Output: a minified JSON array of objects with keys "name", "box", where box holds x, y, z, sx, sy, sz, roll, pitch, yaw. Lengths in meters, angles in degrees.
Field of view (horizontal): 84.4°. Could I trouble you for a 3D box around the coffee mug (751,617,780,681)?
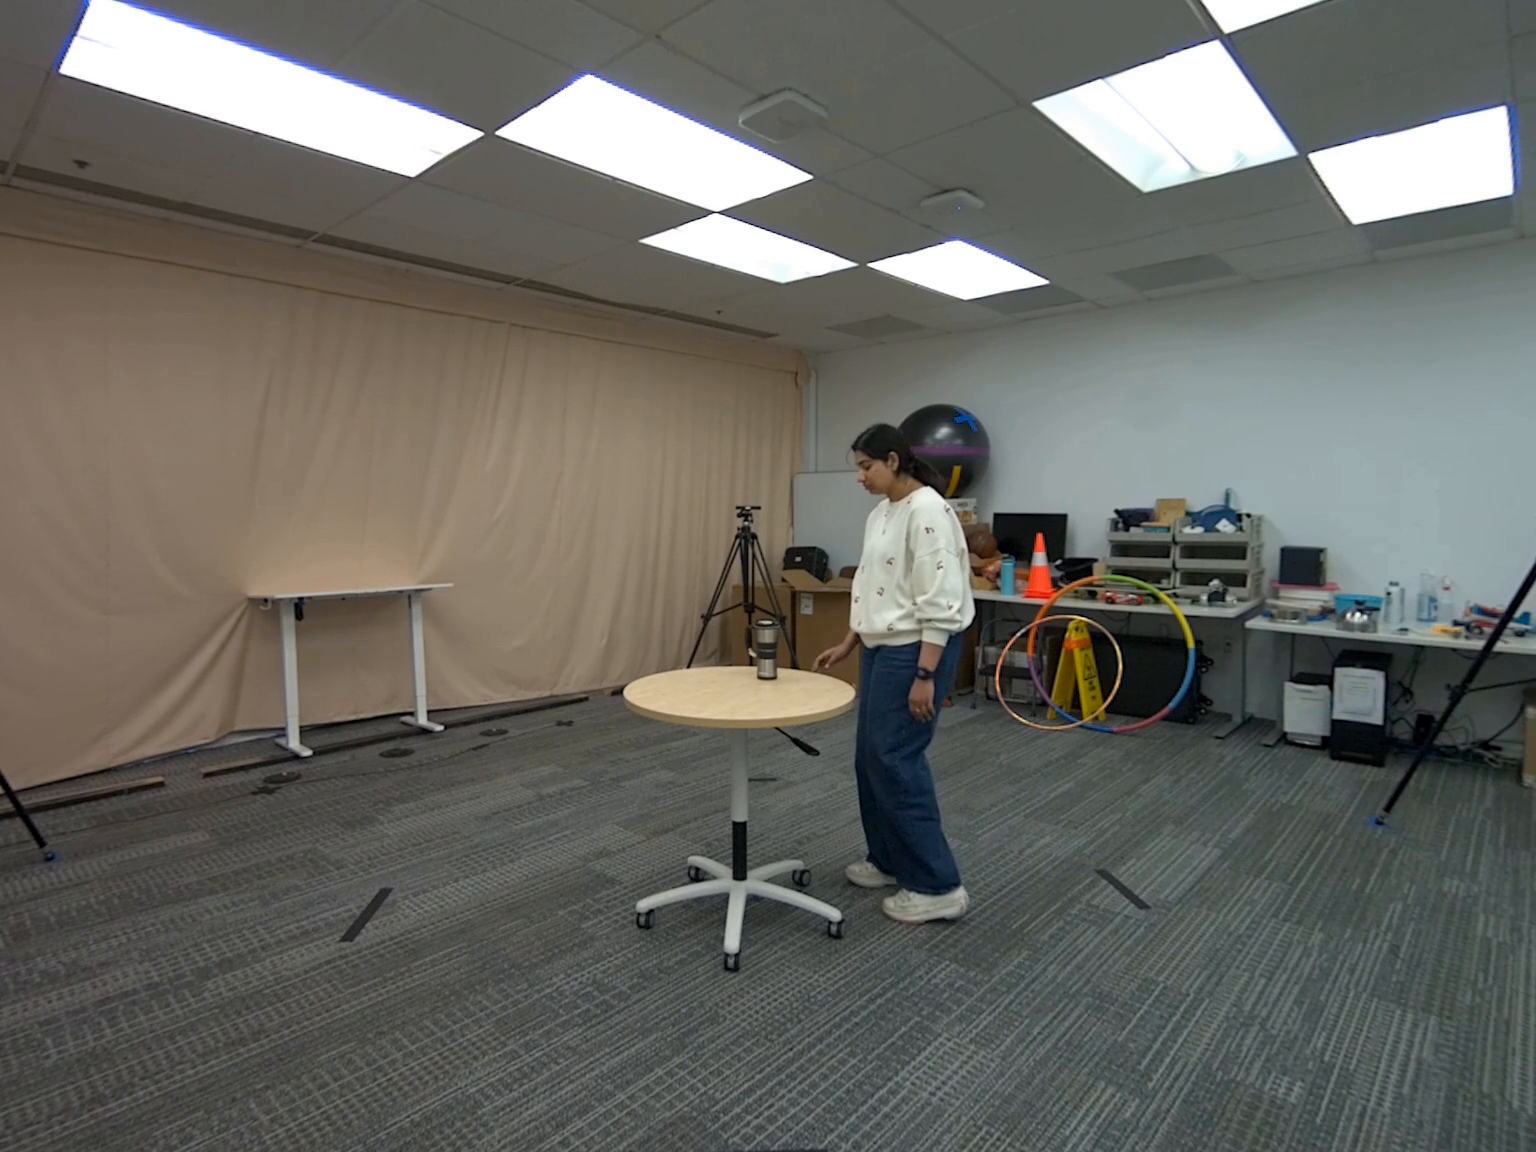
[{"name":"coffee mug","box":[-0.007,0.262,2.986,0.085,0.202,0.126,-5,8,-33]}]
